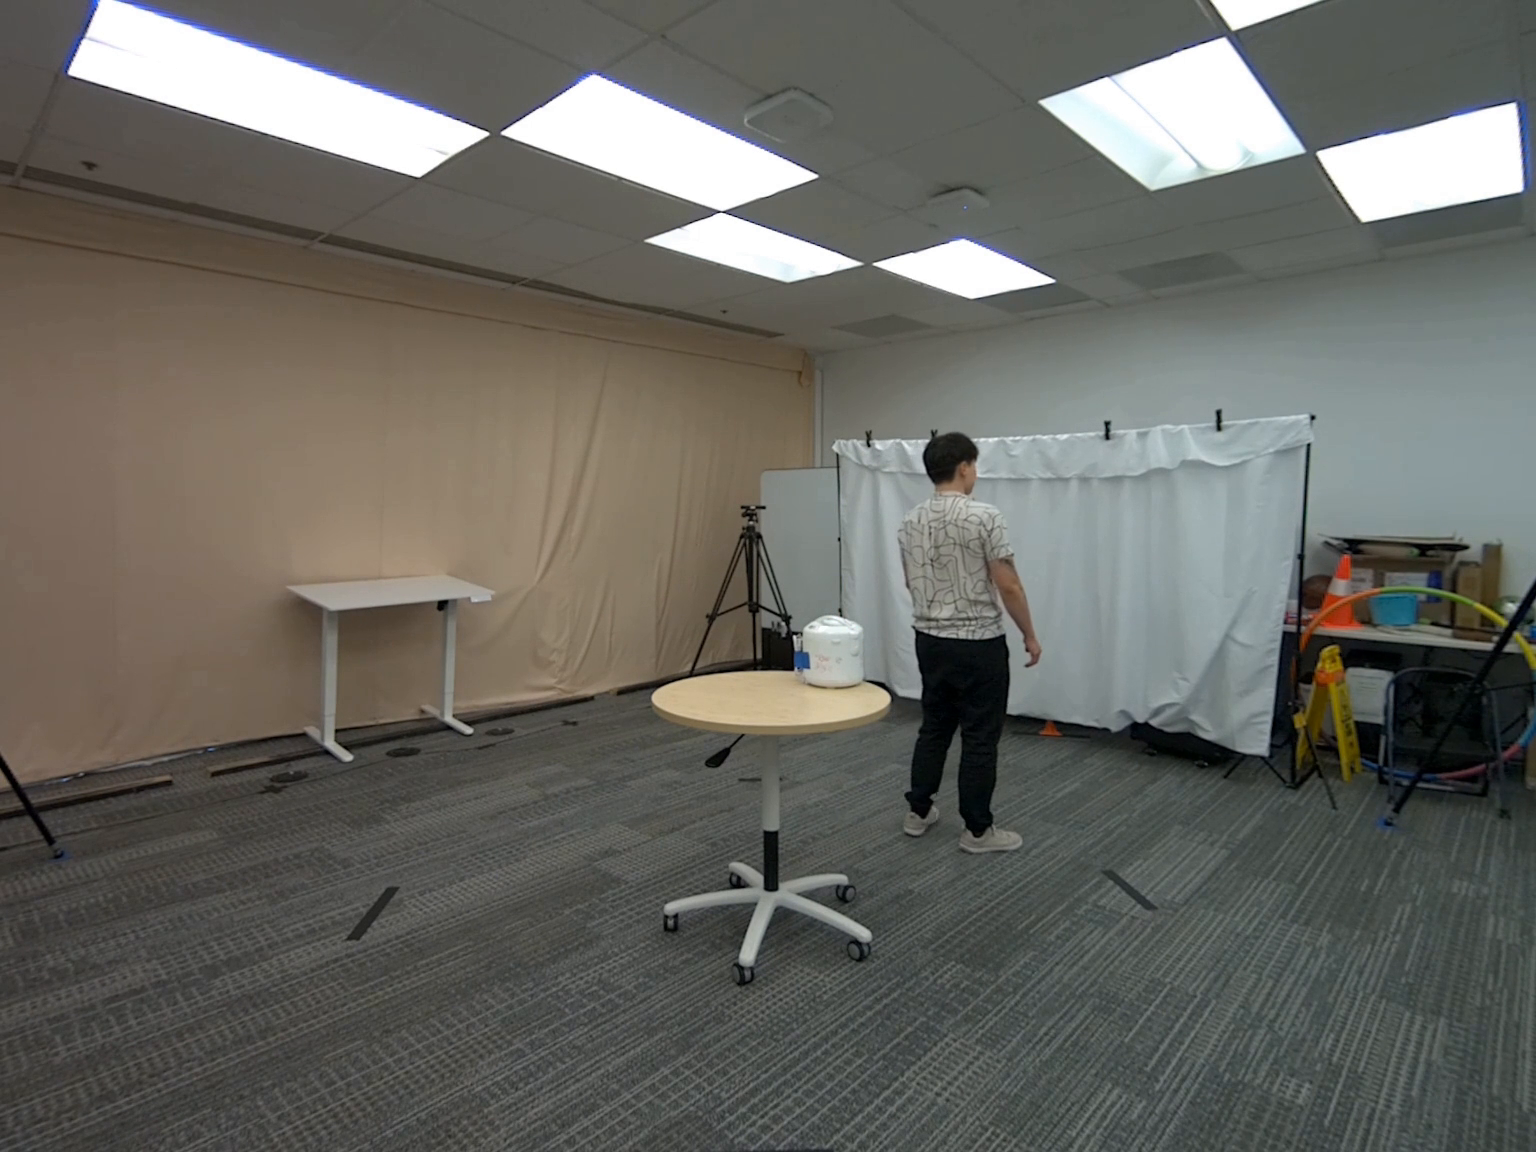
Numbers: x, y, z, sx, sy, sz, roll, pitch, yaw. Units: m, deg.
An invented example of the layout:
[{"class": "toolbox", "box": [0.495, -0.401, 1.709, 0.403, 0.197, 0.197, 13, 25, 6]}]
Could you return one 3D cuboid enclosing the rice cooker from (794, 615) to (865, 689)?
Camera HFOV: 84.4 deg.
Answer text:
[{"class": "rice cooker", "box": [0.224, 0.250, 2.873, 0.211, 0.232, 0.228, -4, 5, -38]}]
